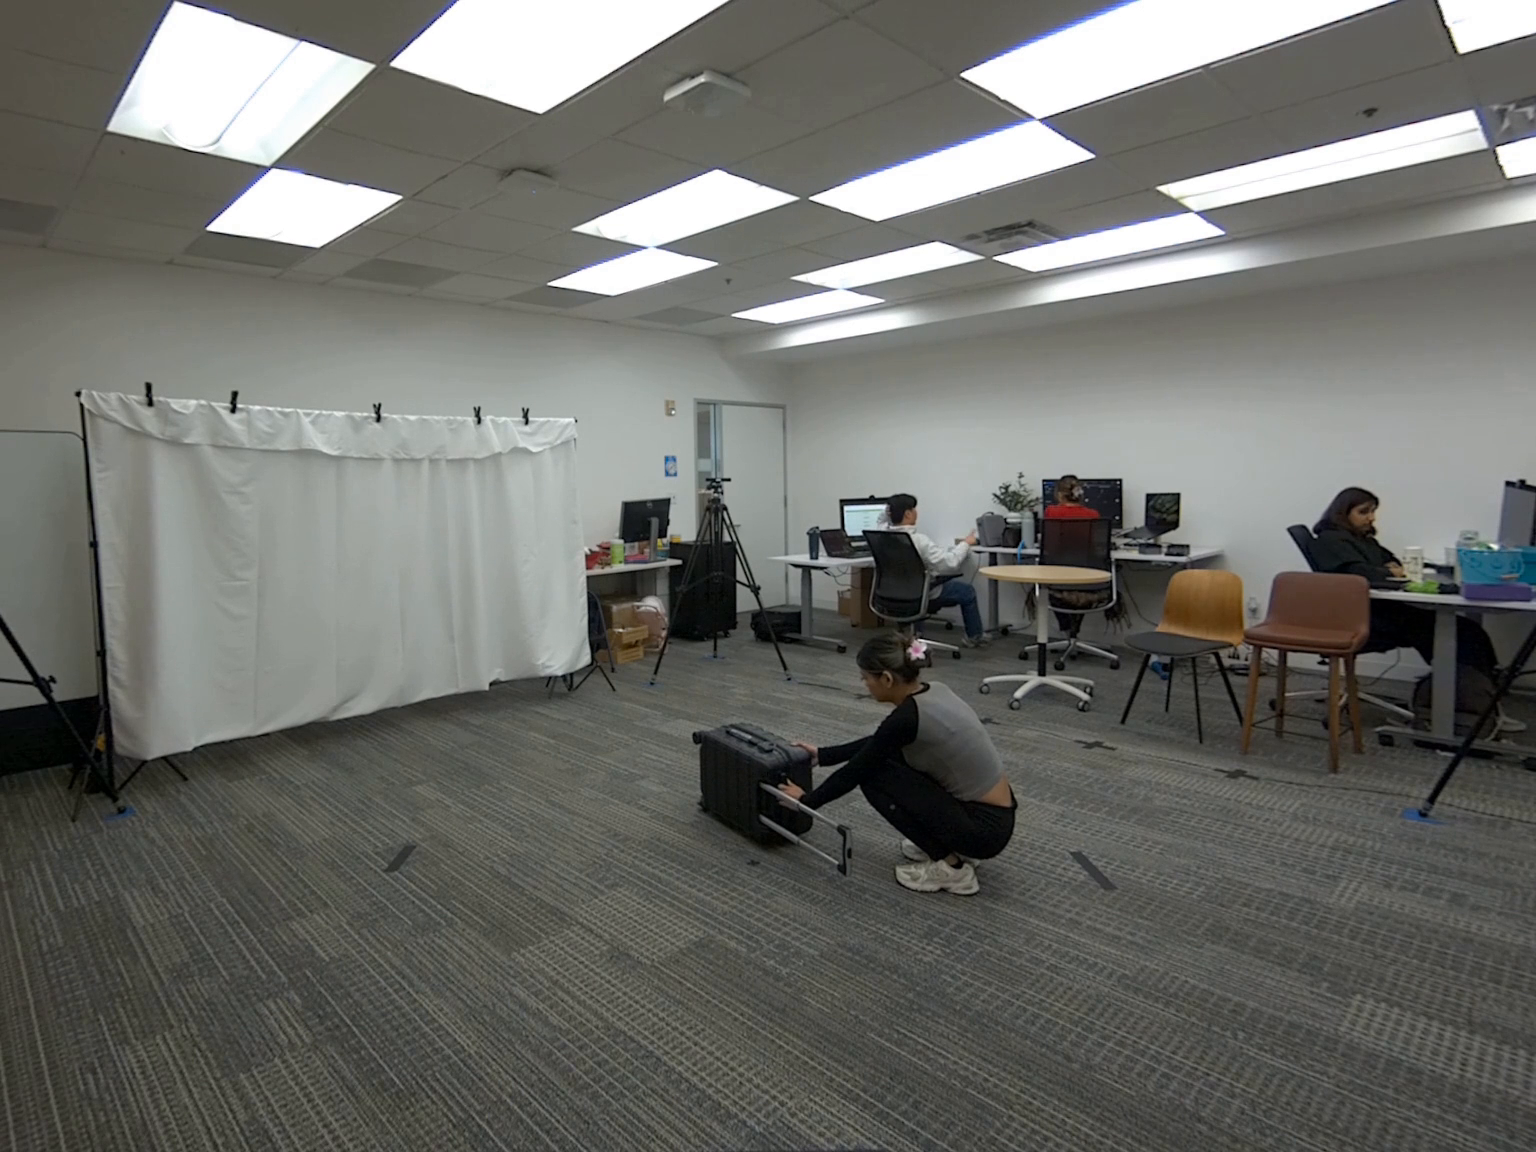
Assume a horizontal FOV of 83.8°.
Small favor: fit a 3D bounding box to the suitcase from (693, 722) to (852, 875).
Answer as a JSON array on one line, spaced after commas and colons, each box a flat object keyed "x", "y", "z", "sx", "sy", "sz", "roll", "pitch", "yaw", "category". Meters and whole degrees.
[{"x": 0.060, "y": 0.840, "z": 3.260, "sx": 0.251, "sy": 0.382, "sz": 1.007, "roll": -5, "pitch": 7, "yaw": -33, "category": "suitcase"}]
